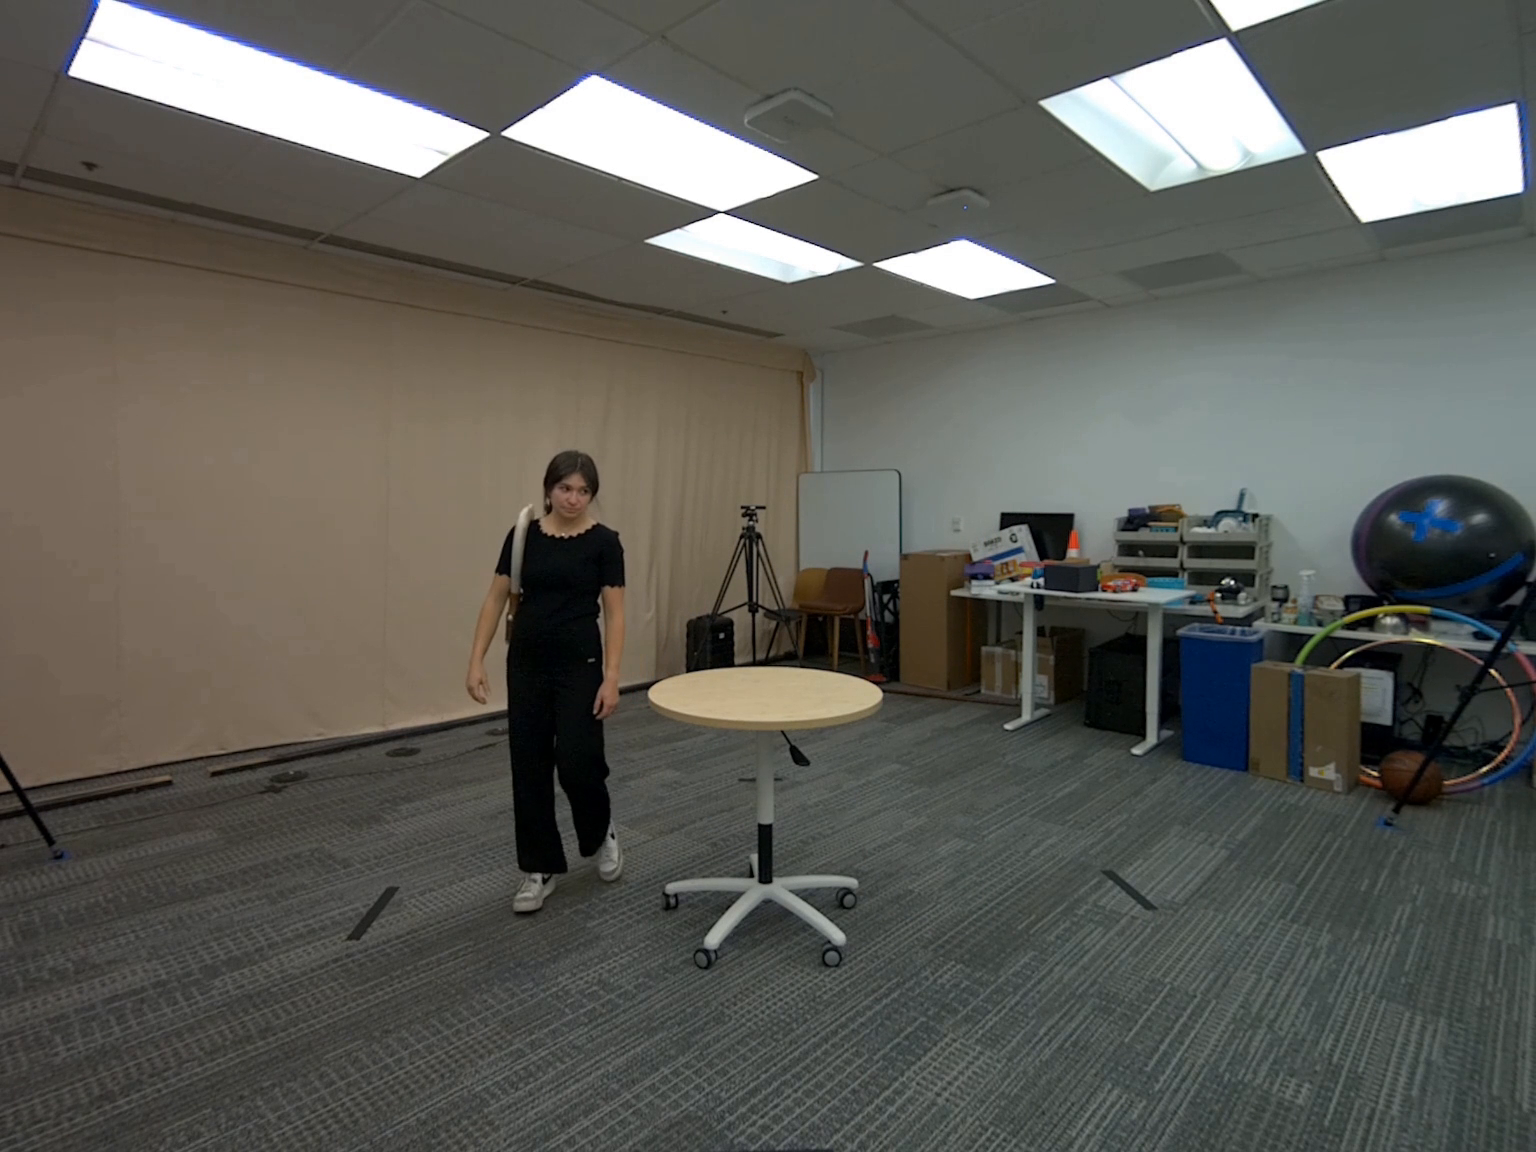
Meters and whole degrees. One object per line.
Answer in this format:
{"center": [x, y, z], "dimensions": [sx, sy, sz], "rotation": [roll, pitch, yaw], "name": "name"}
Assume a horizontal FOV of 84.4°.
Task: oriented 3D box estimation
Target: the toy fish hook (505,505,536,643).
{"center": [-0.890, -0.004, 3.051], "dimensions": [0.048, 0.504, 0.225], "rotation": [11, 10, 1], "name": "toy fish hook"}
